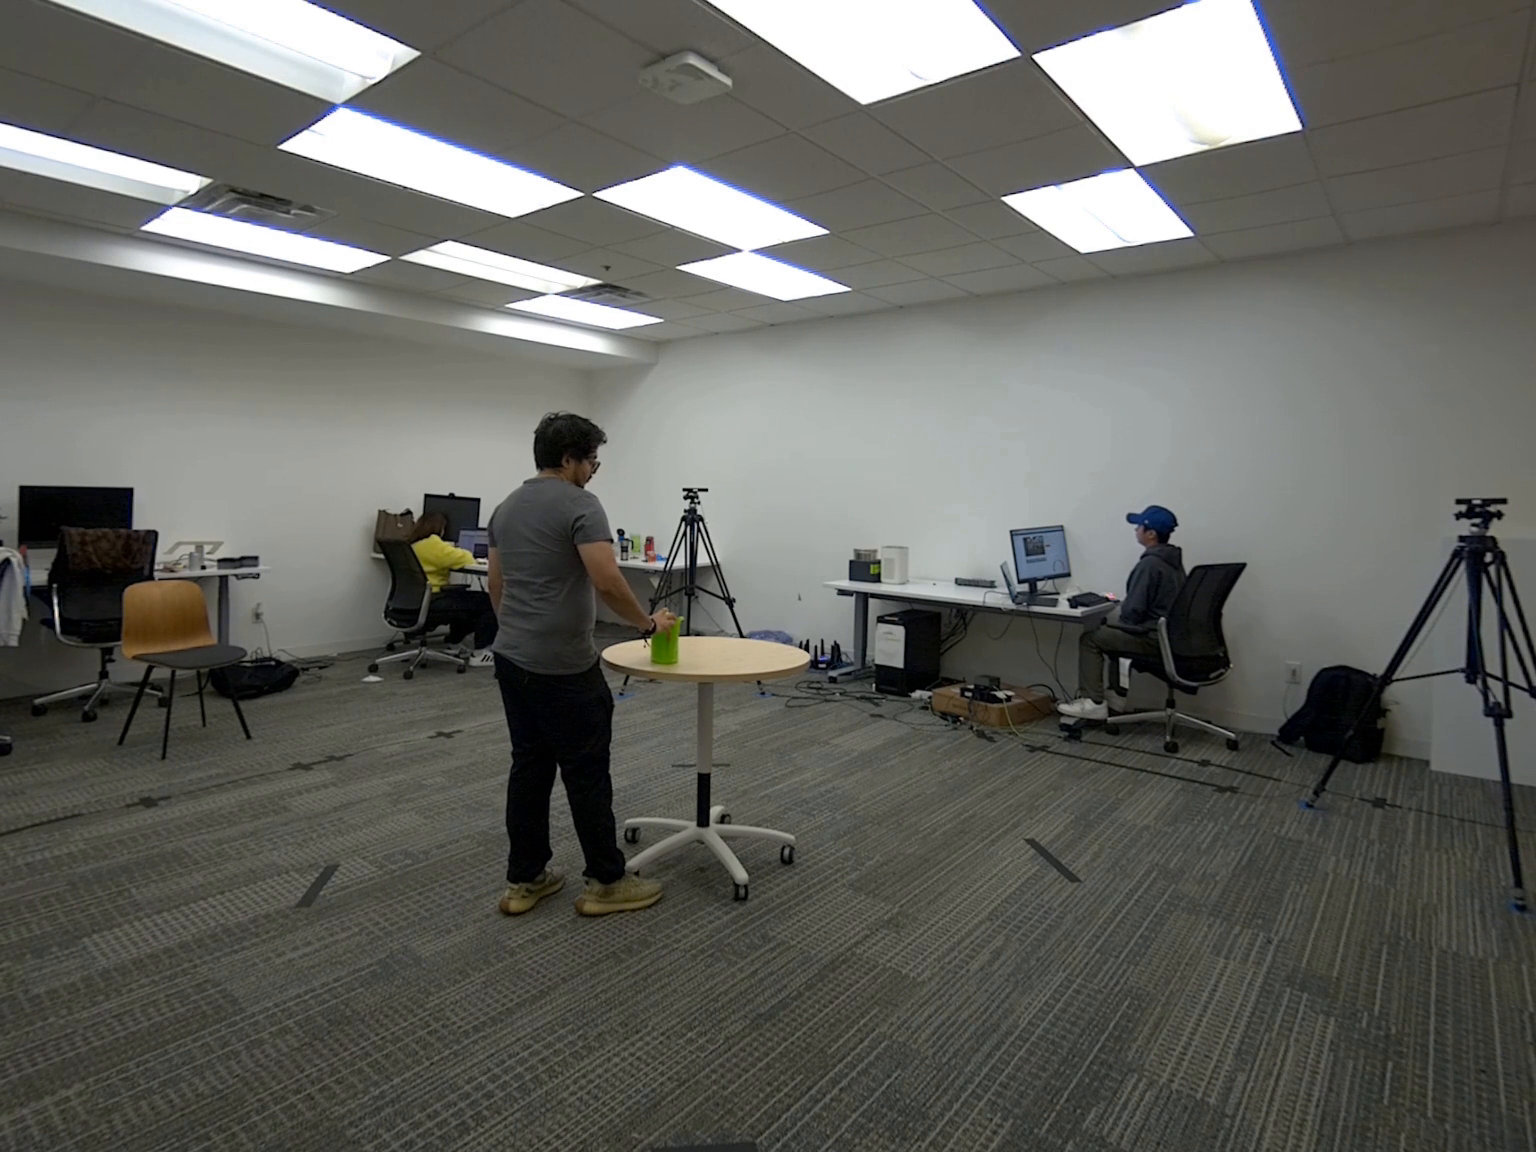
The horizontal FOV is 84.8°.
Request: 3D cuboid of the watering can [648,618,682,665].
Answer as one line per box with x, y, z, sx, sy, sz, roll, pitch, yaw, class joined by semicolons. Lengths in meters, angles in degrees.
-0.363;0.217;2.930;0.096;0.177;0.282;-1;2;-15;watering can
